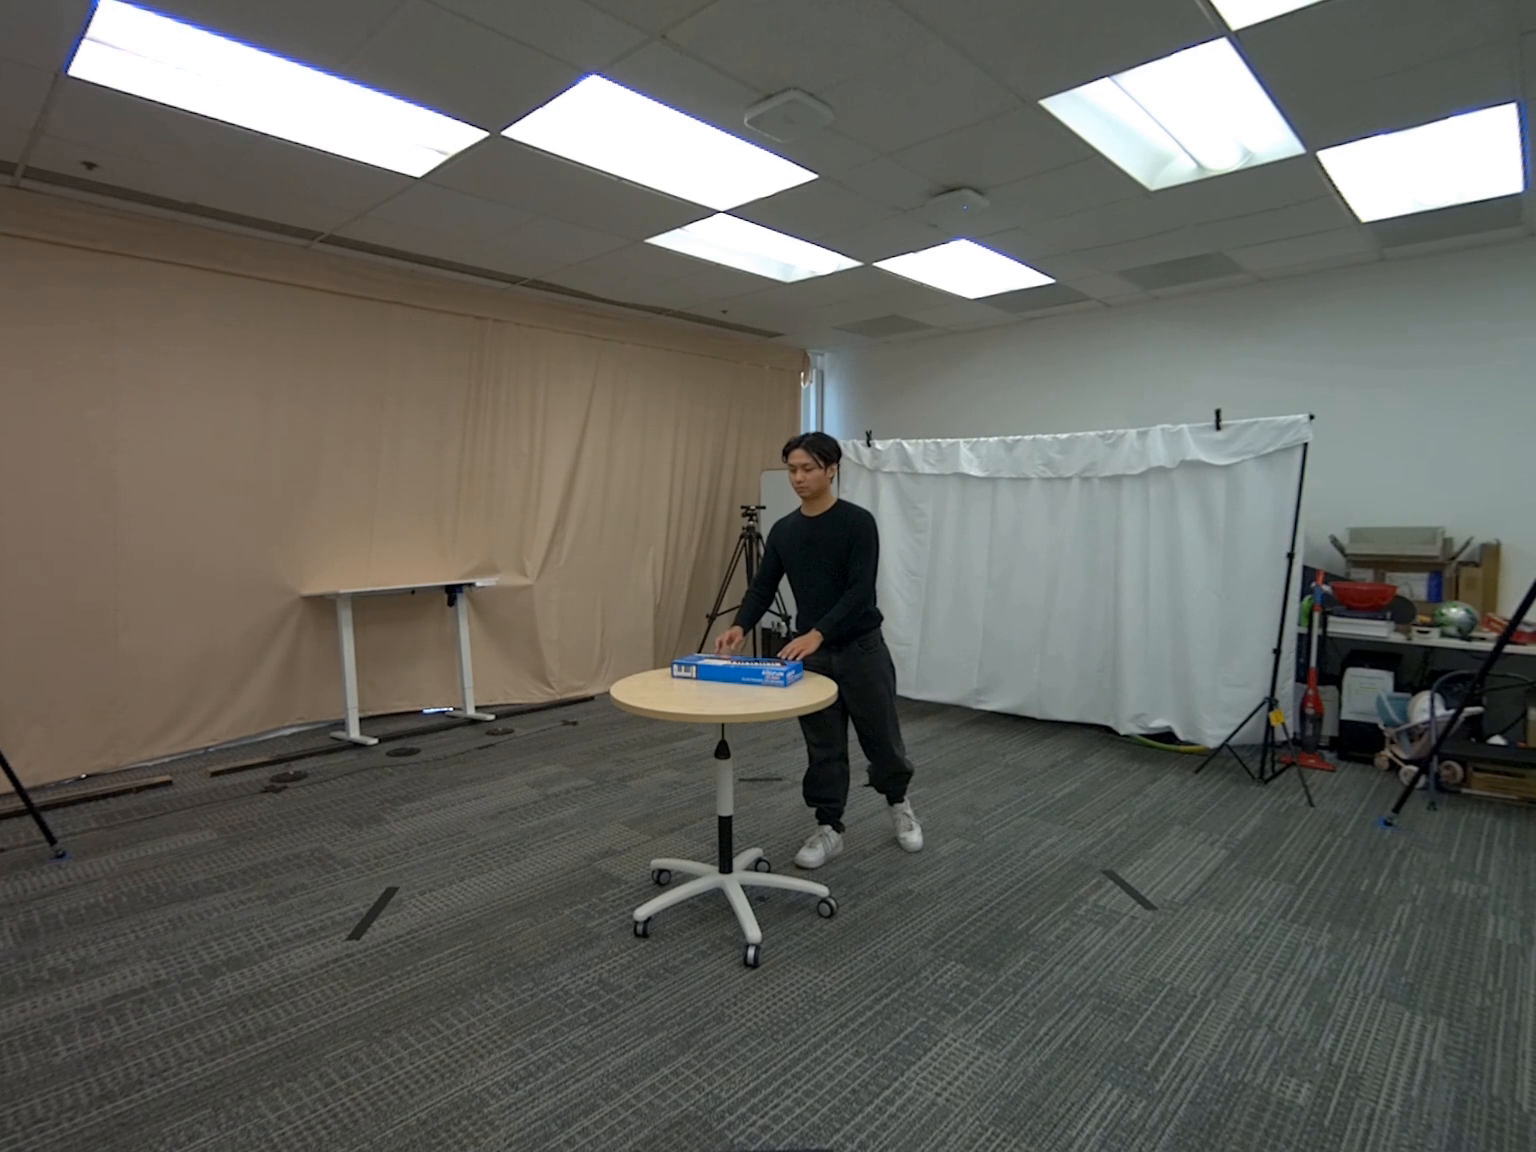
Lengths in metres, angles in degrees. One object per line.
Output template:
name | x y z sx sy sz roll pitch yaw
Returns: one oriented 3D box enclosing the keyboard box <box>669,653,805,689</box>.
keyboard box | -0.112 0.328 2.974 0.448 0.059 0.172 2 5 24
